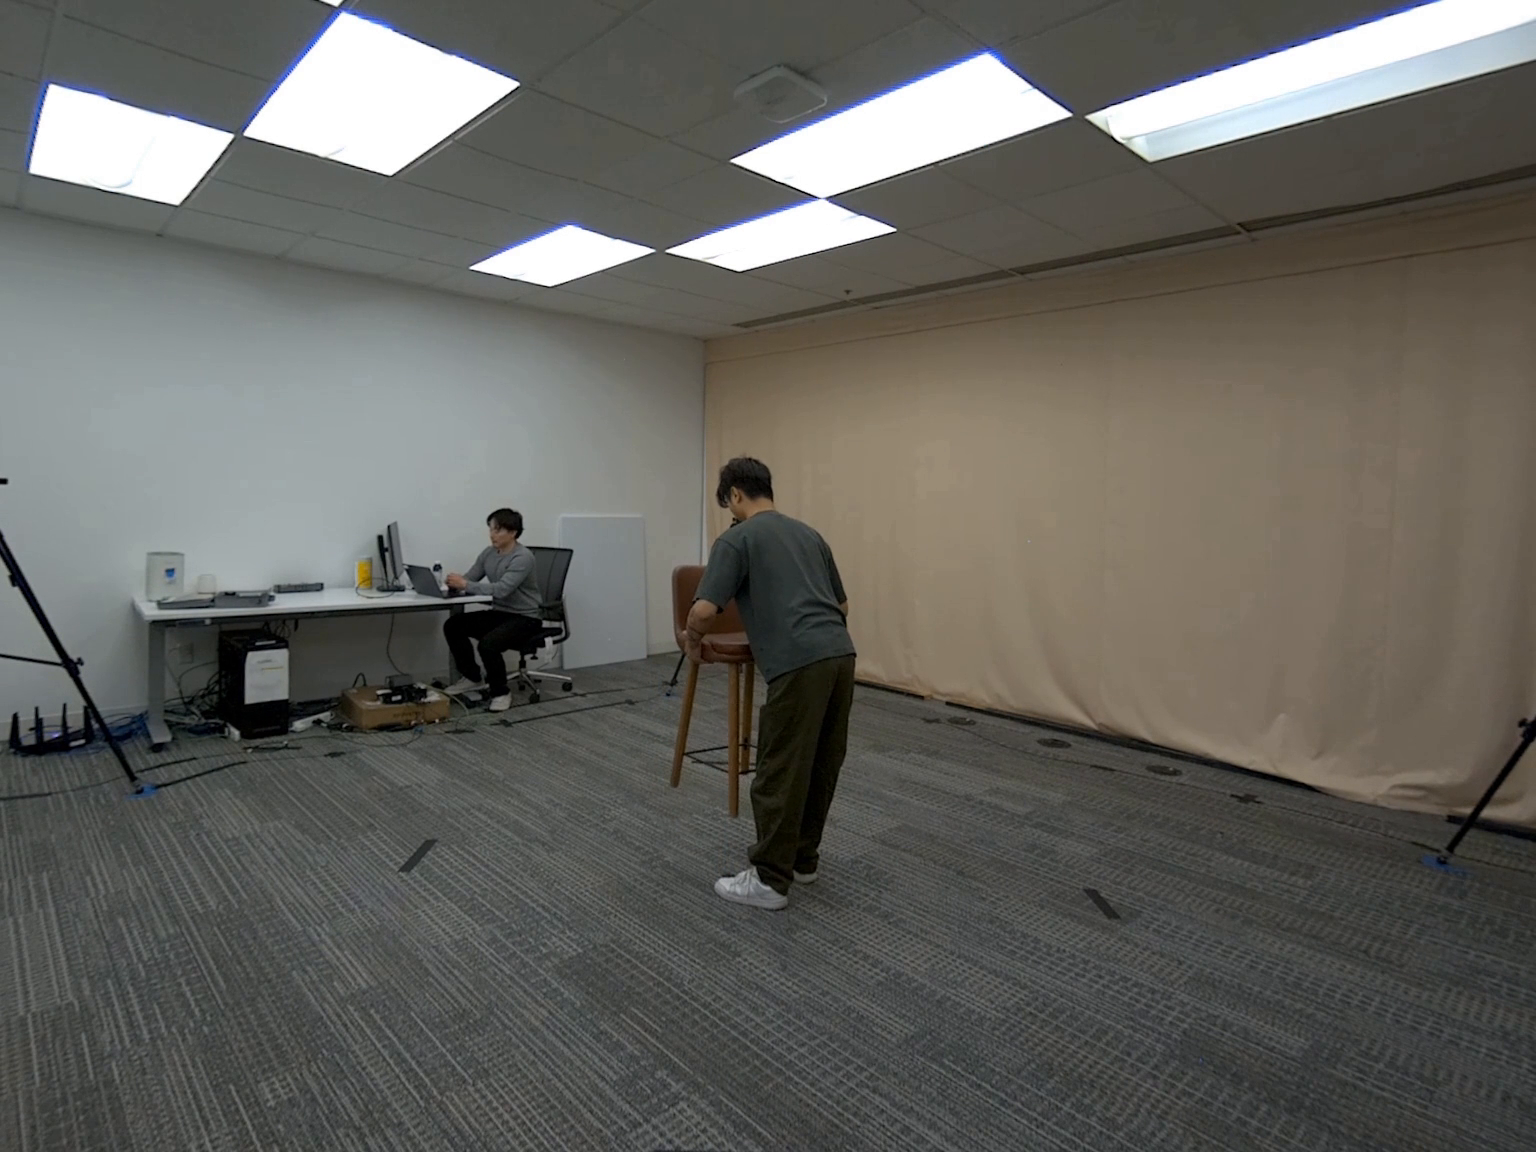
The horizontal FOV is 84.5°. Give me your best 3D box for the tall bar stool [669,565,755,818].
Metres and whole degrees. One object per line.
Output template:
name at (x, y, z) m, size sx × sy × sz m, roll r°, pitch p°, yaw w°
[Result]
tall bar stool at (-0.116, 0.408, 3.260) m, size 0.446 × 0.891 × 0.478 m, roll 1°, pitch -2°, yaw -37°
